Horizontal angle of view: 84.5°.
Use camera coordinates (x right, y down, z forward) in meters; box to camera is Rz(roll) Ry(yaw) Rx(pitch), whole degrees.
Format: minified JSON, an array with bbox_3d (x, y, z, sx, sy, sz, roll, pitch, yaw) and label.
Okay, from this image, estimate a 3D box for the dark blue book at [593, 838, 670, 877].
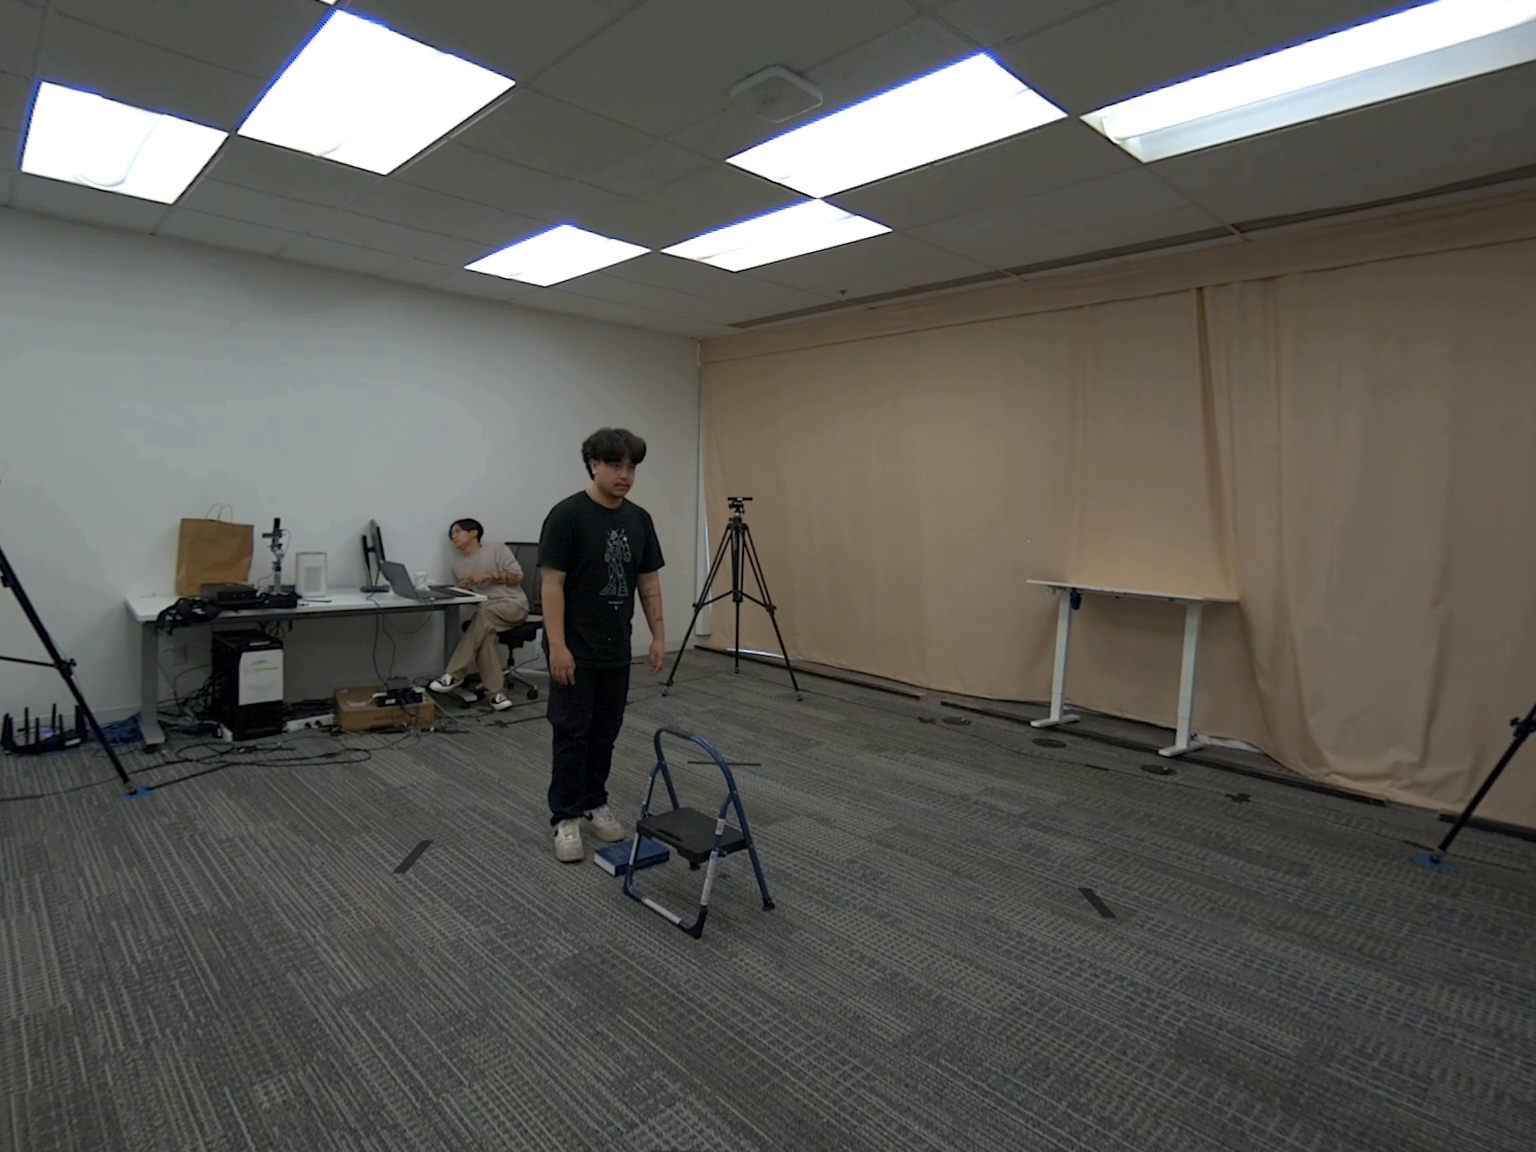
[{"bbox_3d":[-0.531,1.071,3.208,0.239,0.045,0.167,-3,7,-40],"label":"dark blue book"}]
